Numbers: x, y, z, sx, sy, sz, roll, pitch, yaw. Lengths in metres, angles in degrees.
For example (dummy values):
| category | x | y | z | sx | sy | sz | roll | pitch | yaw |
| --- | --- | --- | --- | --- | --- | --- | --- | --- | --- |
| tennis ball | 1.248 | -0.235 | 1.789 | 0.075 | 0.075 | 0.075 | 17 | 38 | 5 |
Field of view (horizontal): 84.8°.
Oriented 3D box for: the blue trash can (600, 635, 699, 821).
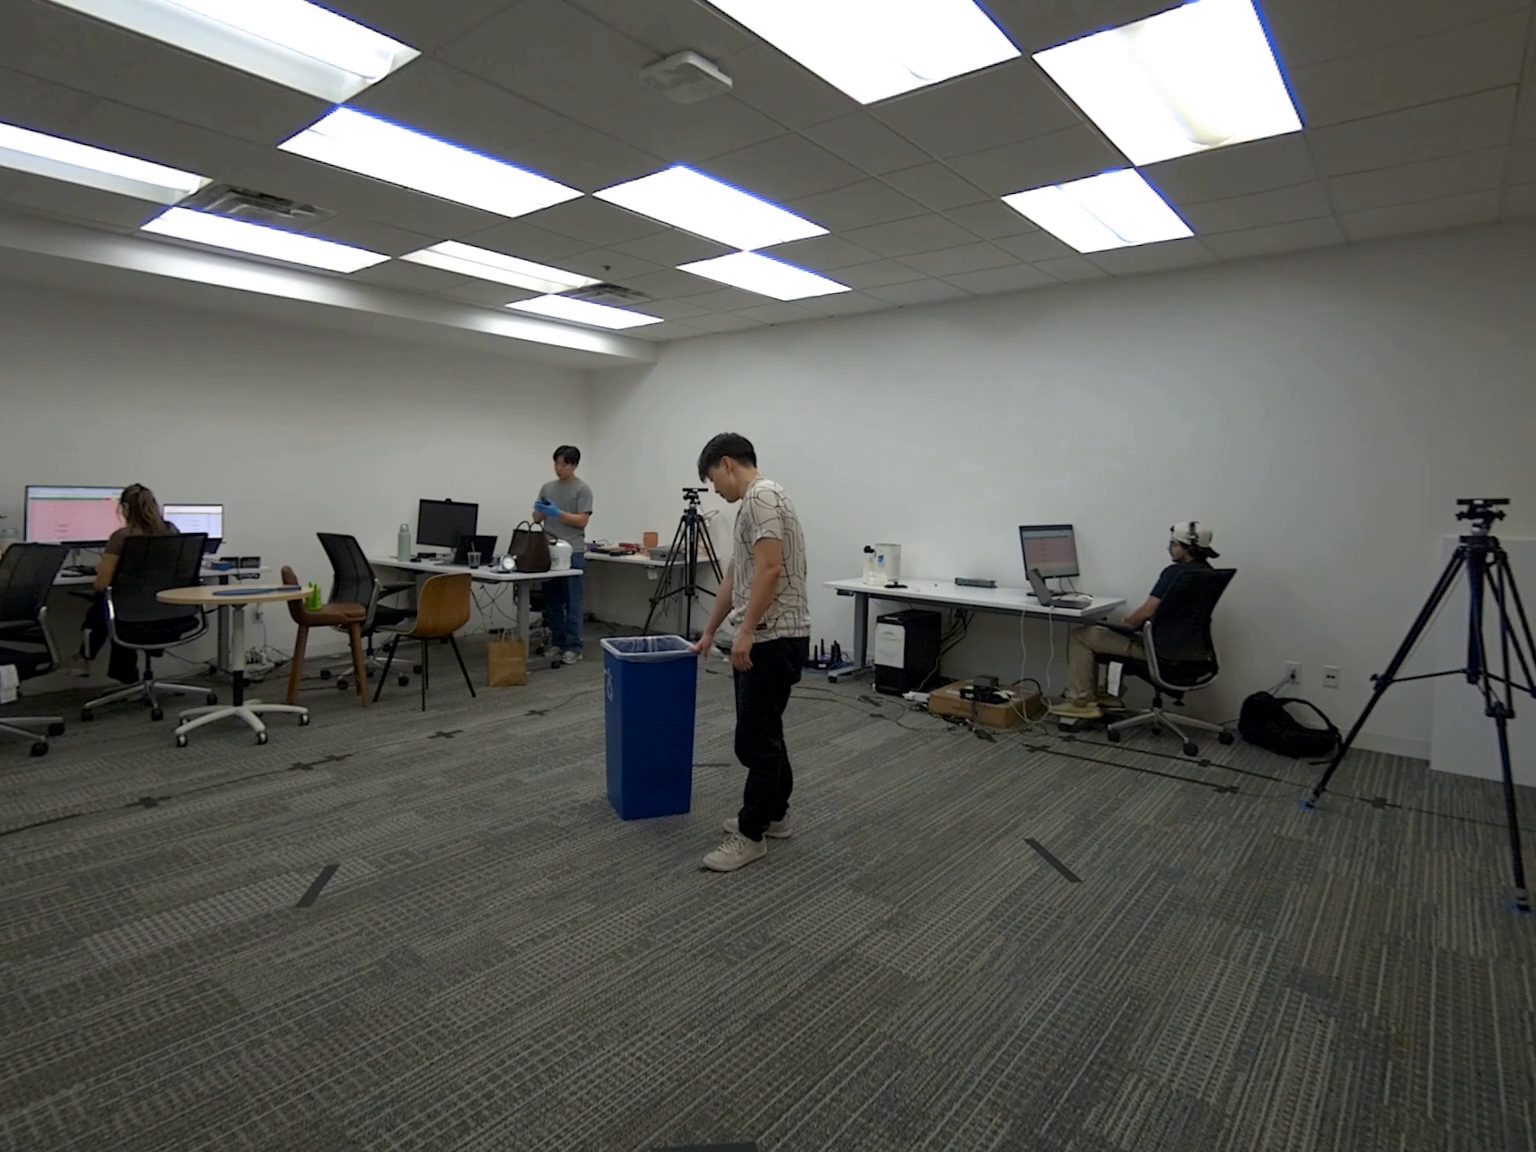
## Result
| category | x | y | z | sx | sy | sz | roll | pitch | yaw |
| --- | --- | --- | --- | --- | --- | --- | --- | --- | --- |
| blue trash can | -0.529 | 0.648 | 3.717 | 0.370 | 0.711 | 0.383 | -1 | 4 | -23 |
